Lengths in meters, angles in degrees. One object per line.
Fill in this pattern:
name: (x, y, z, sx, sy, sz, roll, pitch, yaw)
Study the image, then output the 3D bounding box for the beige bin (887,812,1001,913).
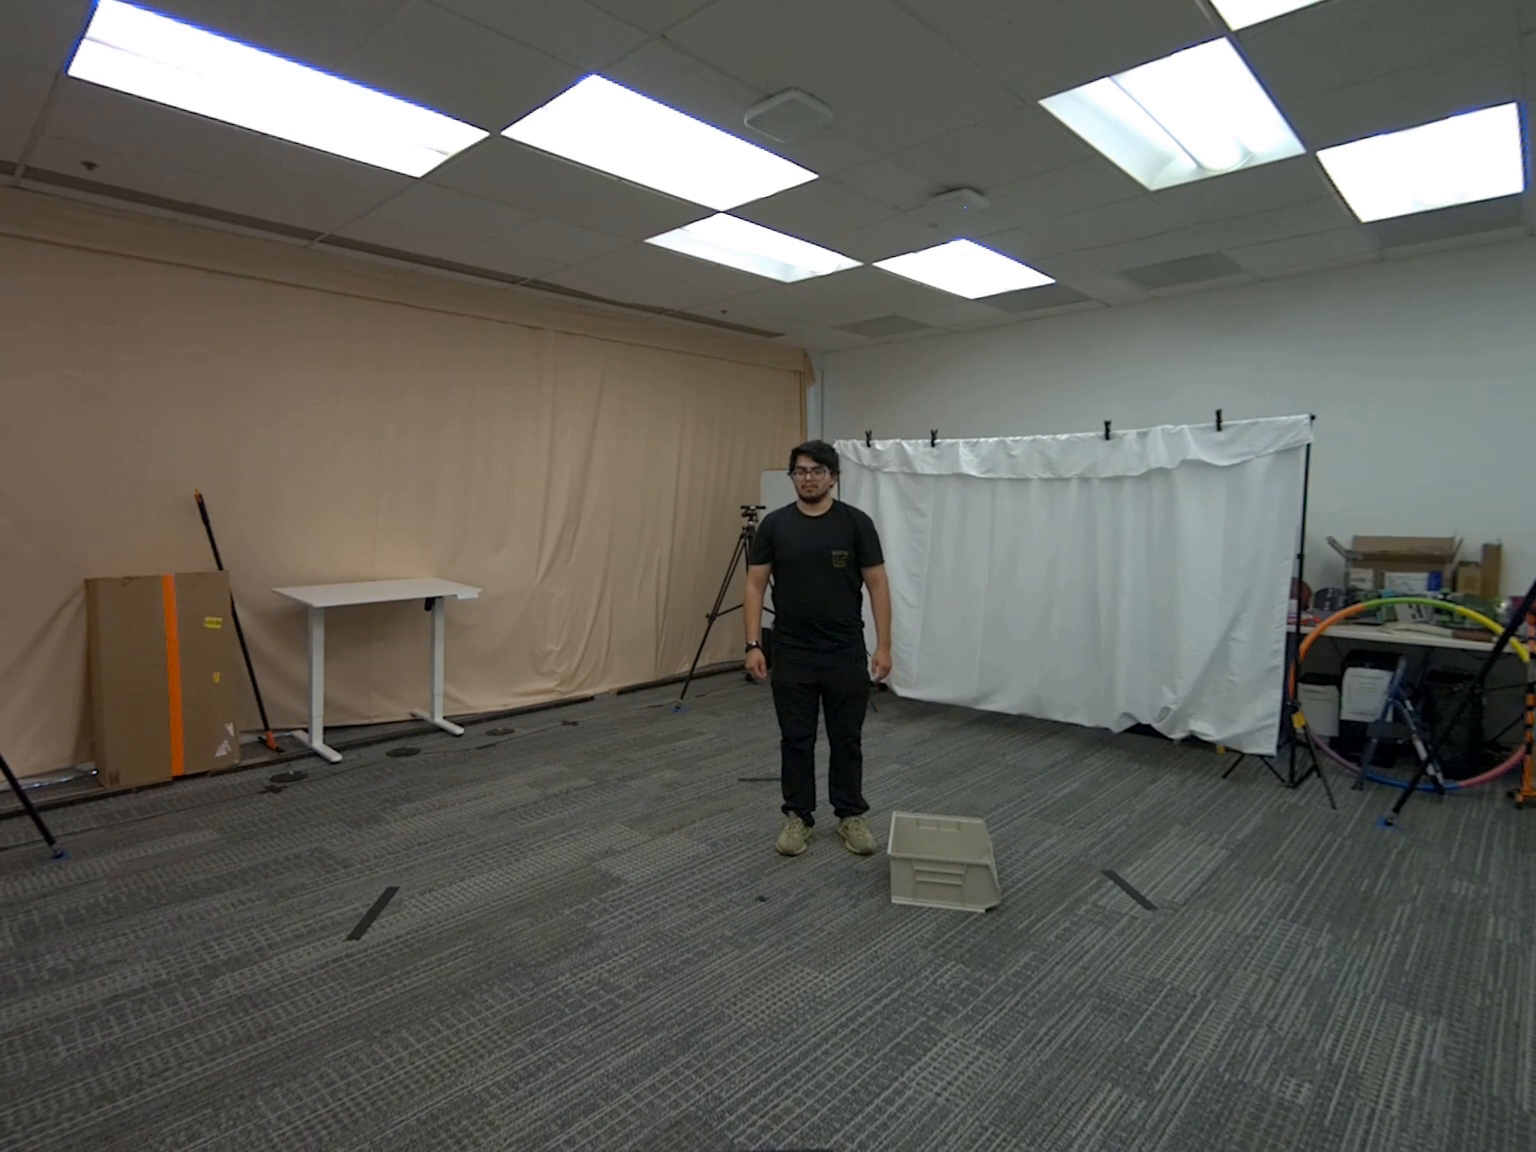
beige bin: (0.651, 1.045, 3.099, 0.383, 0.188, 0.417, 0, 5, 12)
